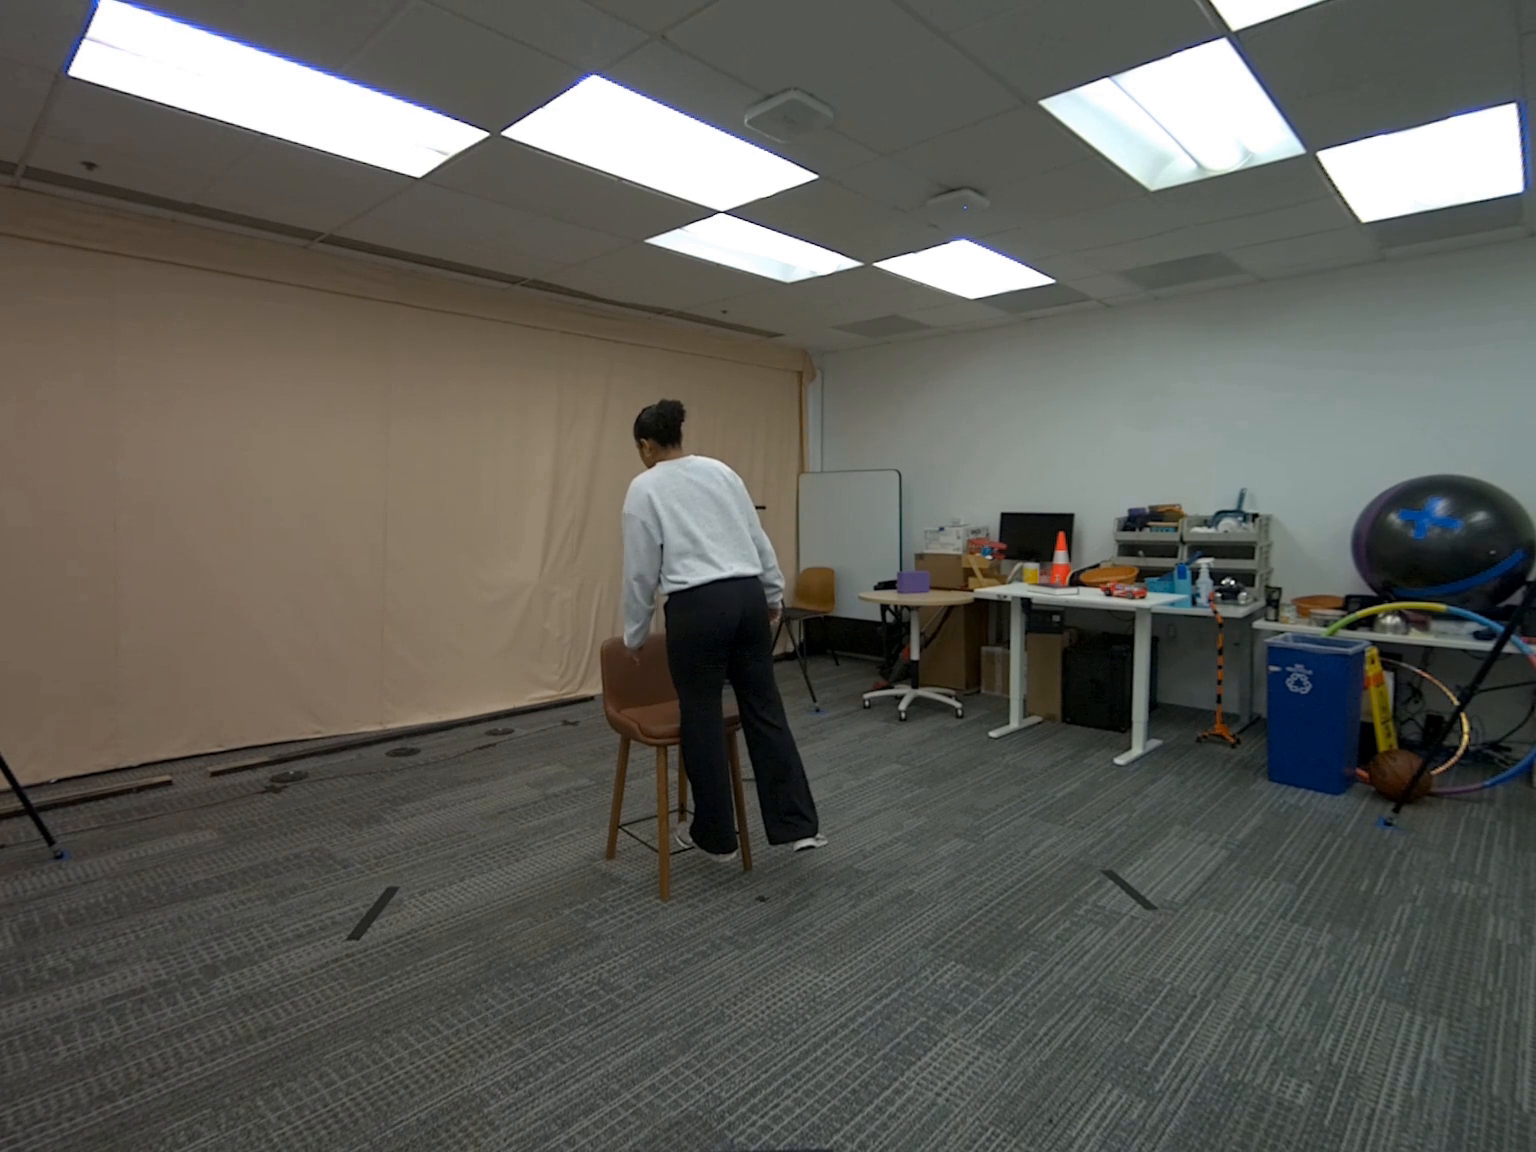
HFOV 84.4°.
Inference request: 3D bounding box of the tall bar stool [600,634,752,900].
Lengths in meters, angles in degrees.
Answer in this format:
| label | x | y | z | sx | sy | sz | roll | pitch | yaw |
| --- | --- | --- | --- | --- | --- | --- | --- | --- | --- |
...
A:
| label | x | y | z | sx | sy | sz | roll | pitch | yaw |
| --- | --- | --- | --- | --- | --- | --- | --- | --- | --- |
| tall bar stool | -0.367 | 0.687 | 3.254 | 0.443 | 0.889 | 0.482 | -3 | 2 | -38 |
